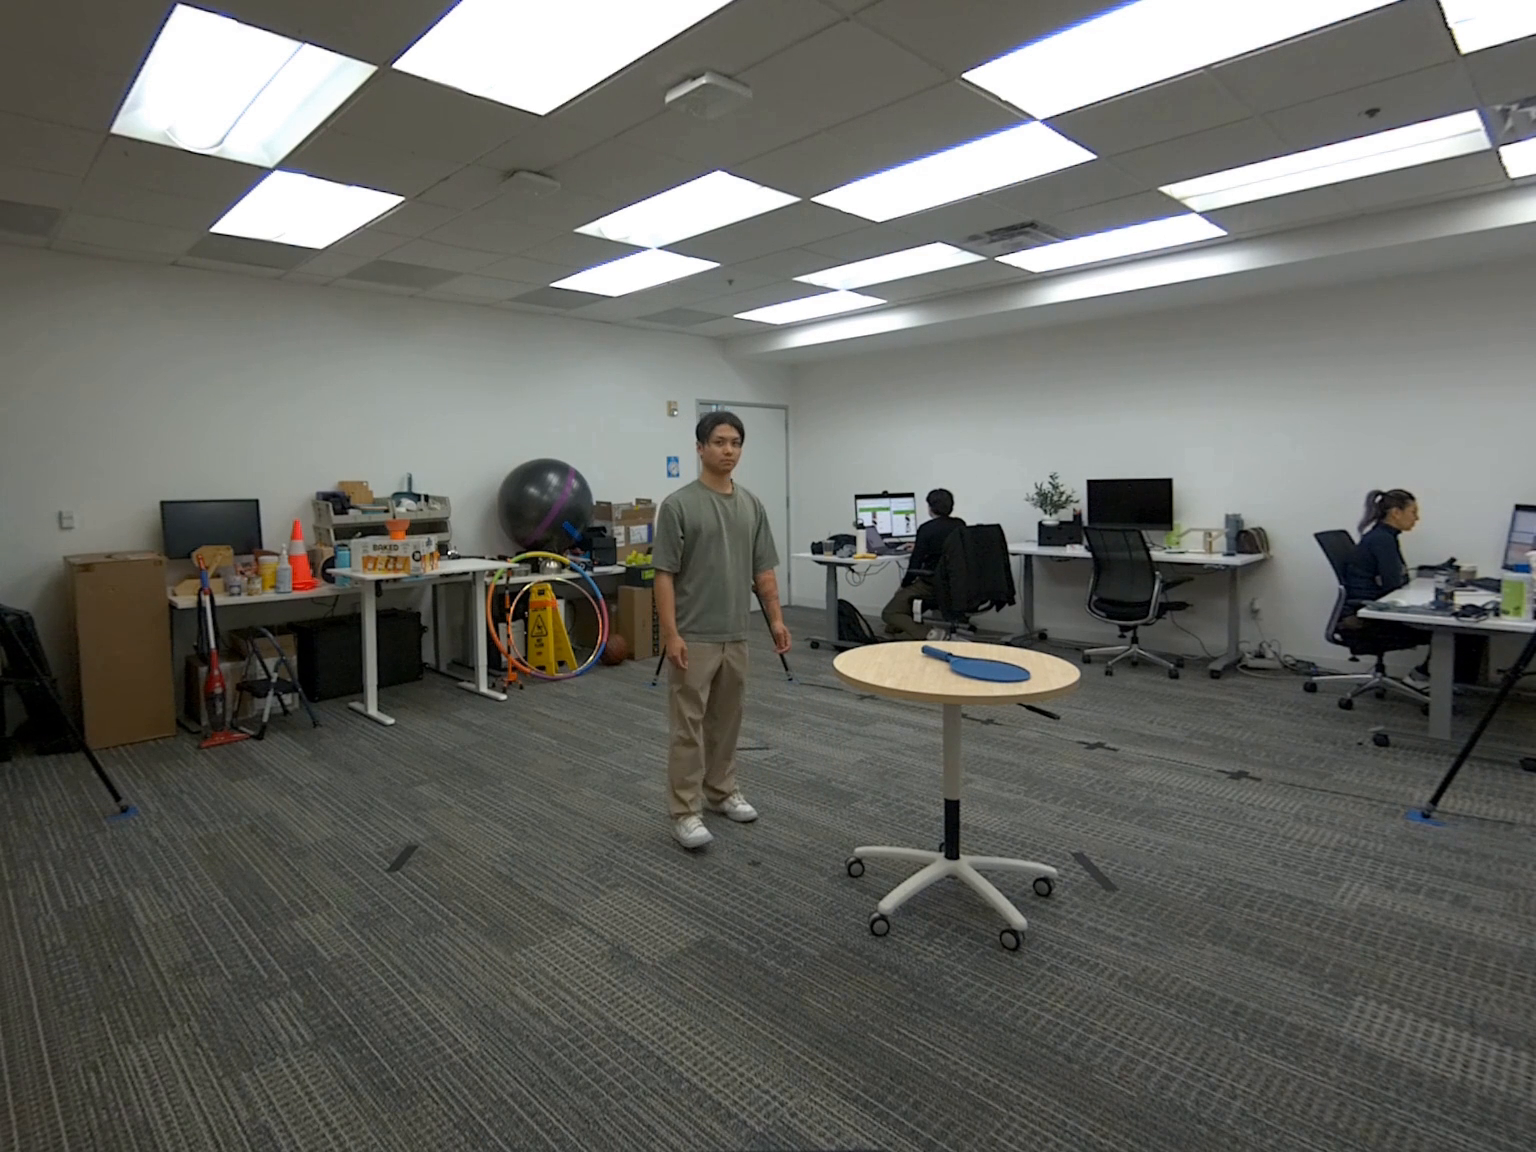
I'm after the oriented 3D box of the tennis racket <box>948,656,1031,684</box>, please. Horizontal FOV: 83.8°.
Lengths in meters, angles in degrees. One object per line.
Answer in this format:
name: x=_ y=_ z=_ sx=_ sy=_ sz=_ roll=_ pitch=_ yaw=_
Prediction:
tennis racket: x=0.642 y=0.276 z=2.730 sx=0.209 sy=0.031 sz=0.445 roll=-3 pitch=9 yaw=-27
